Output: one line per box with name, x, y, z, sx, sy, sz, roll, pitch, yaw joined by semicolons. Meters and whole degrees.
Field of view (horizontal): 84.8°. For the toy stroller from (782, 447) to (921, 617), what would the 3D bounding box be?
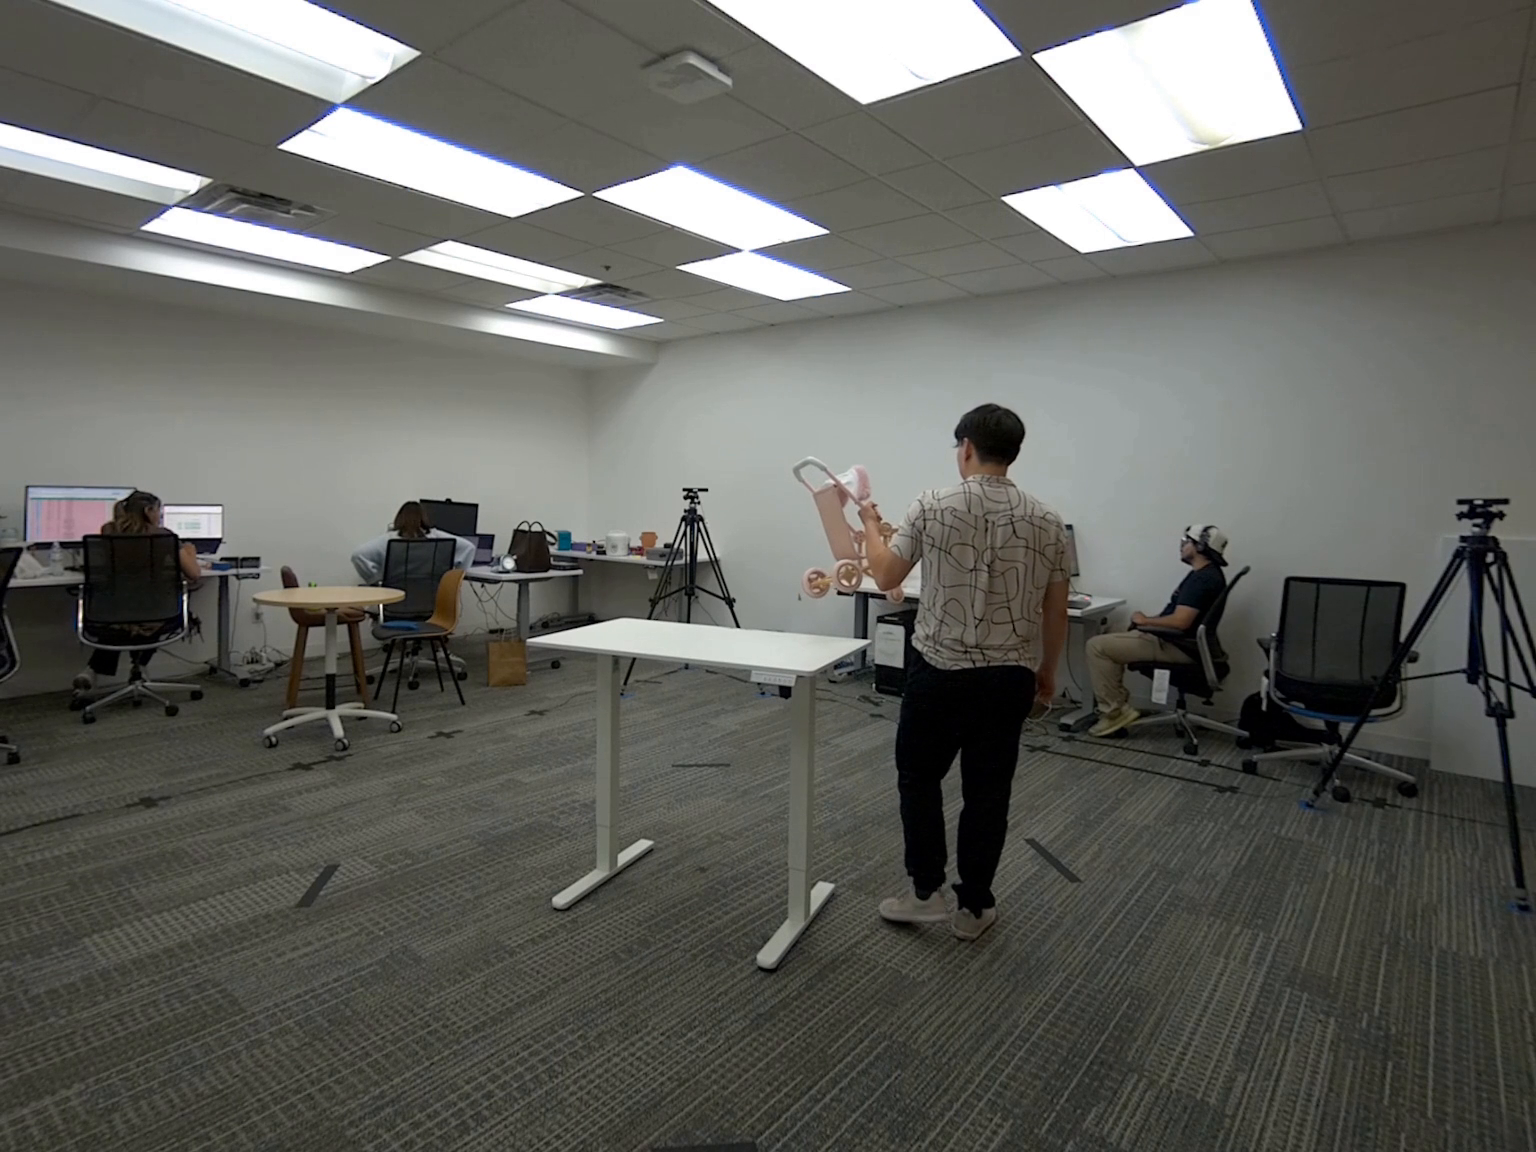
toy stroller;0.293;-0.153;2.992;0.336;0.539;0.283;-5;-7;-17
